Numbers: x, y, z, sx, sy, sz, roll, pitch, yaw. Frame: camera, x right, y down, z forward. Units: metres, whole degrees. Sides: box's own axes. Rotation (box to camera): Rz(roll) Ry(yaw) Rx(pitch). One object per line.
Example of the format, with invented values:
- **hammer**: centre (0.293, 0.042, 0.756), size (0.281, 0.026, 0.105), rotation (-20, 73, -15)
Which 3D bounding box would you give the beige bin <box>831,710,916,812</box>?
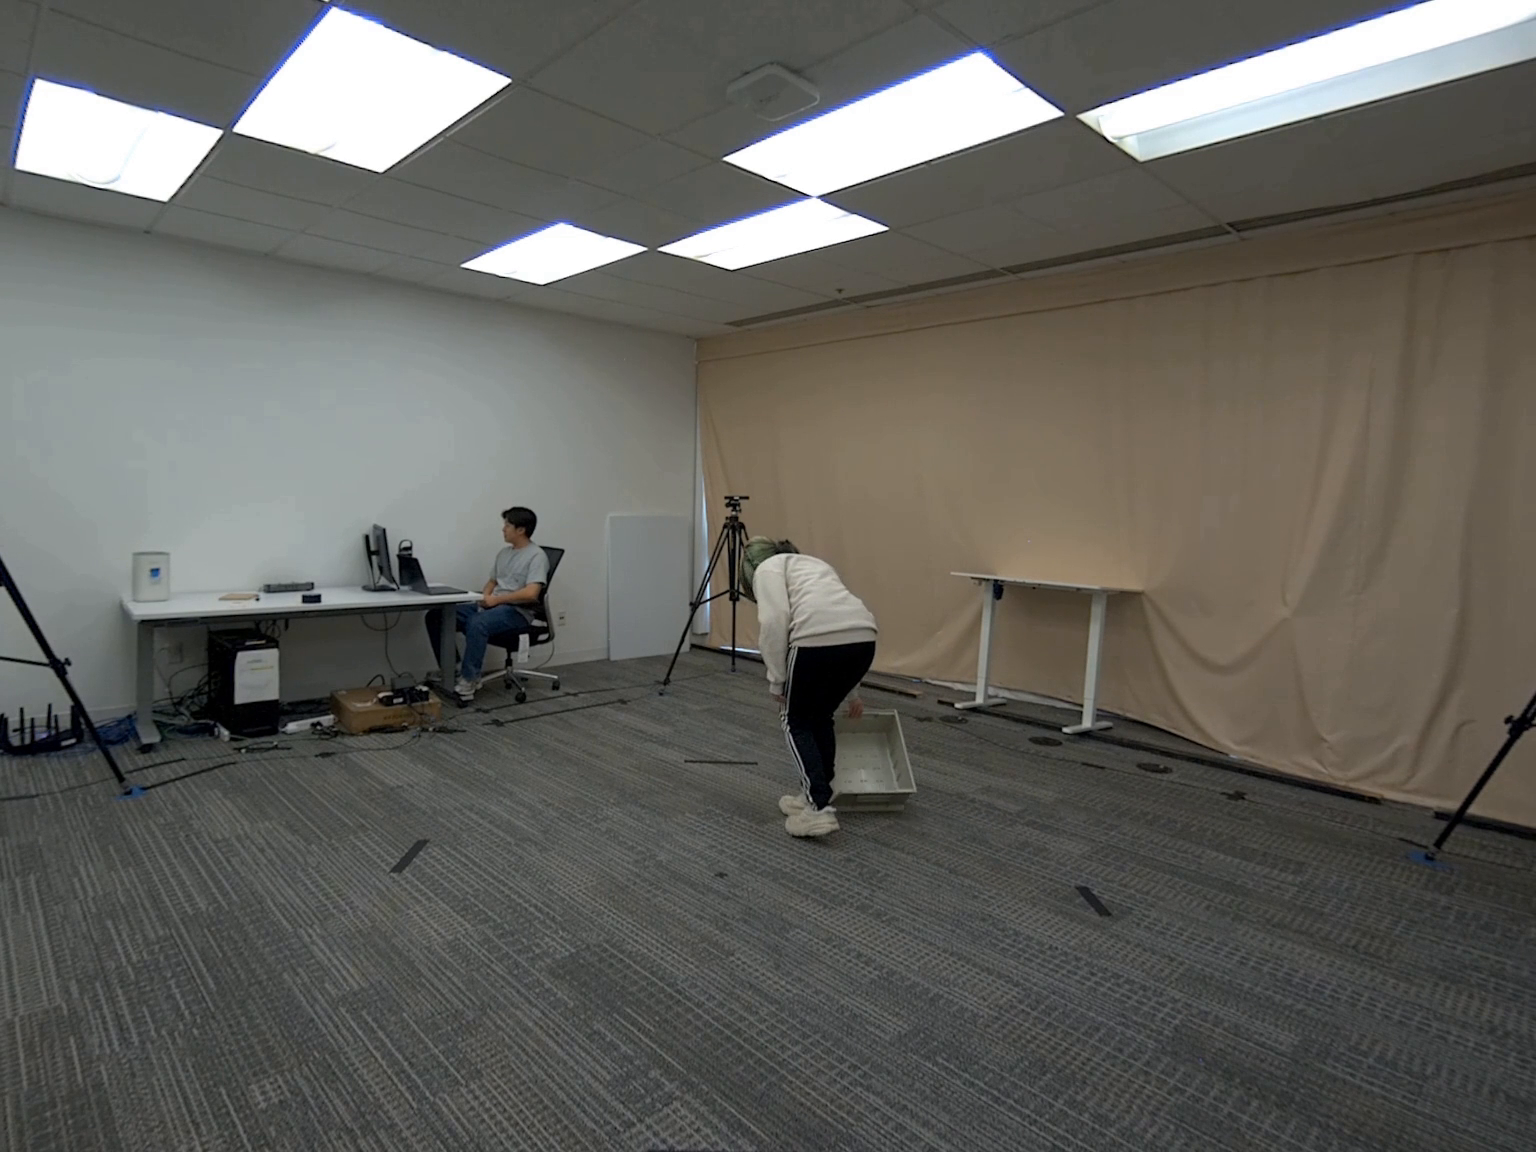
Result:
- **beige bin**: centre (0.426, 0.851, 3.875), size (0.374, 0.185, 0.433), rotation (1, 45, -9)
